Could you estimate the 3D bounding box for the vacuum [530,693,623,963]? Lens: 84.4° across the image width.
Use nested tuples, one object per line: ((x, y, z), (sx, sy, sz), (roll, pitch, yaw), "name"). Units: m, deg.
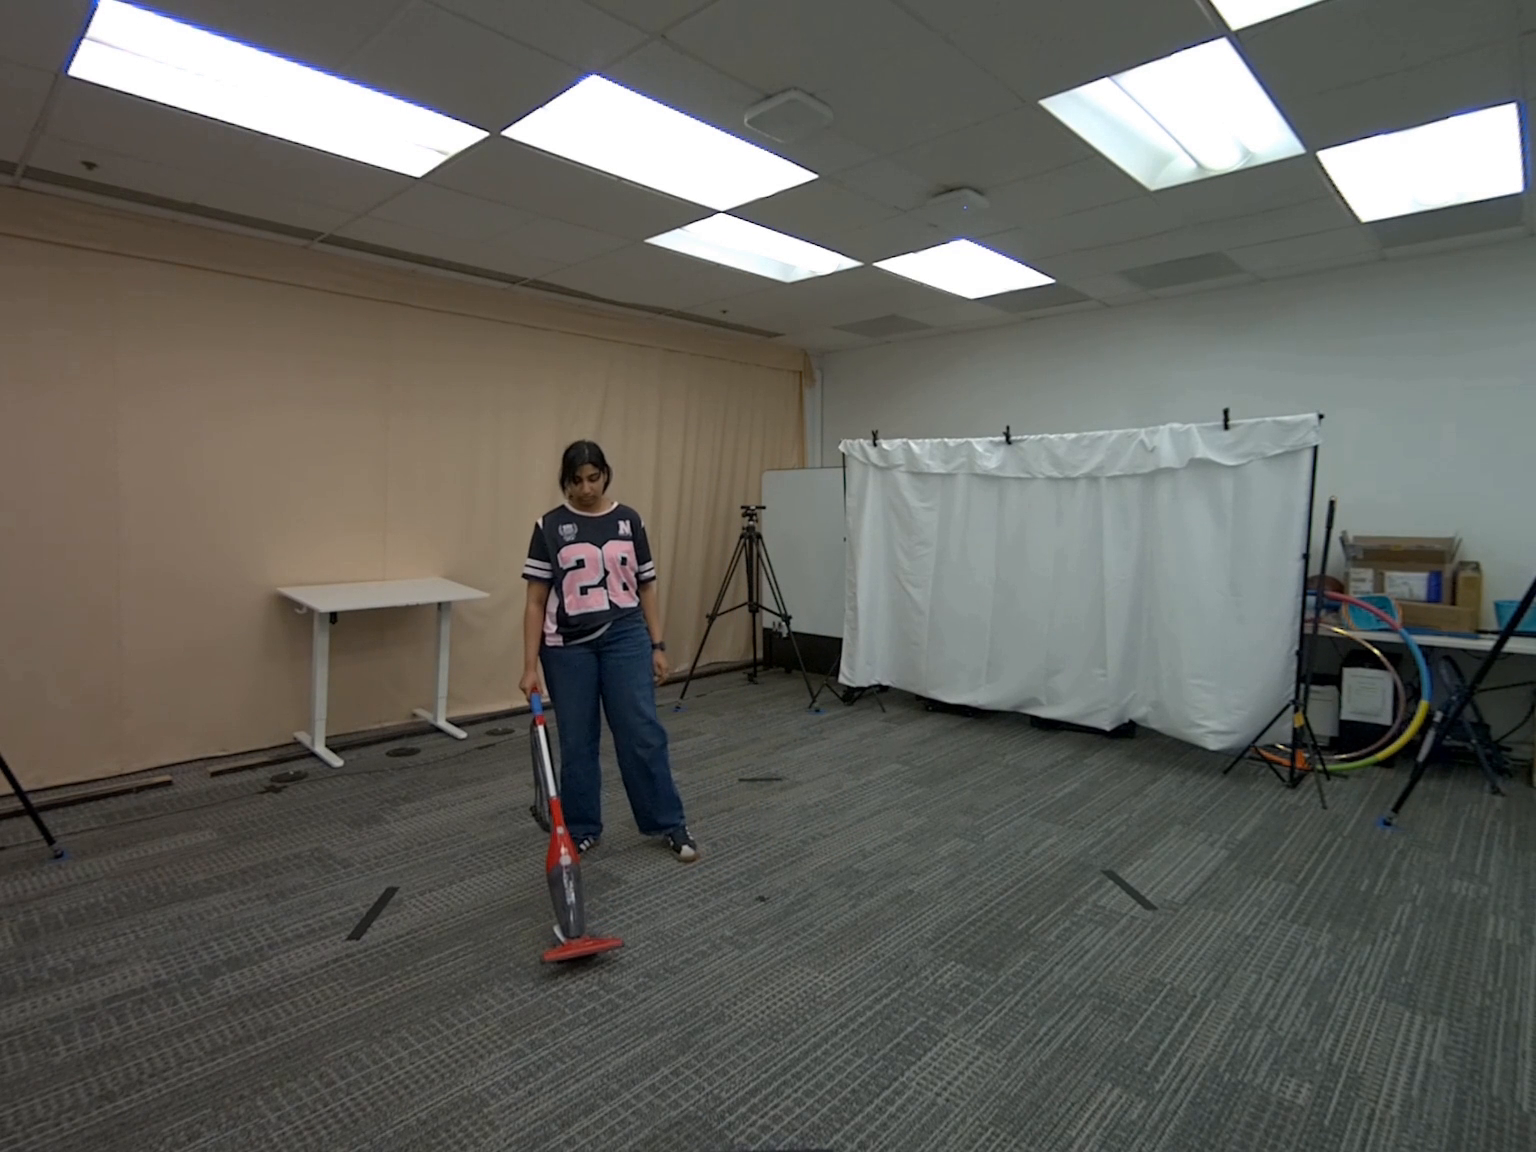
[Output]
((-0.741, 0.783, 2.915), (0.246, 0.143, 1.081), (-1, 43, -25), "vacuum")
